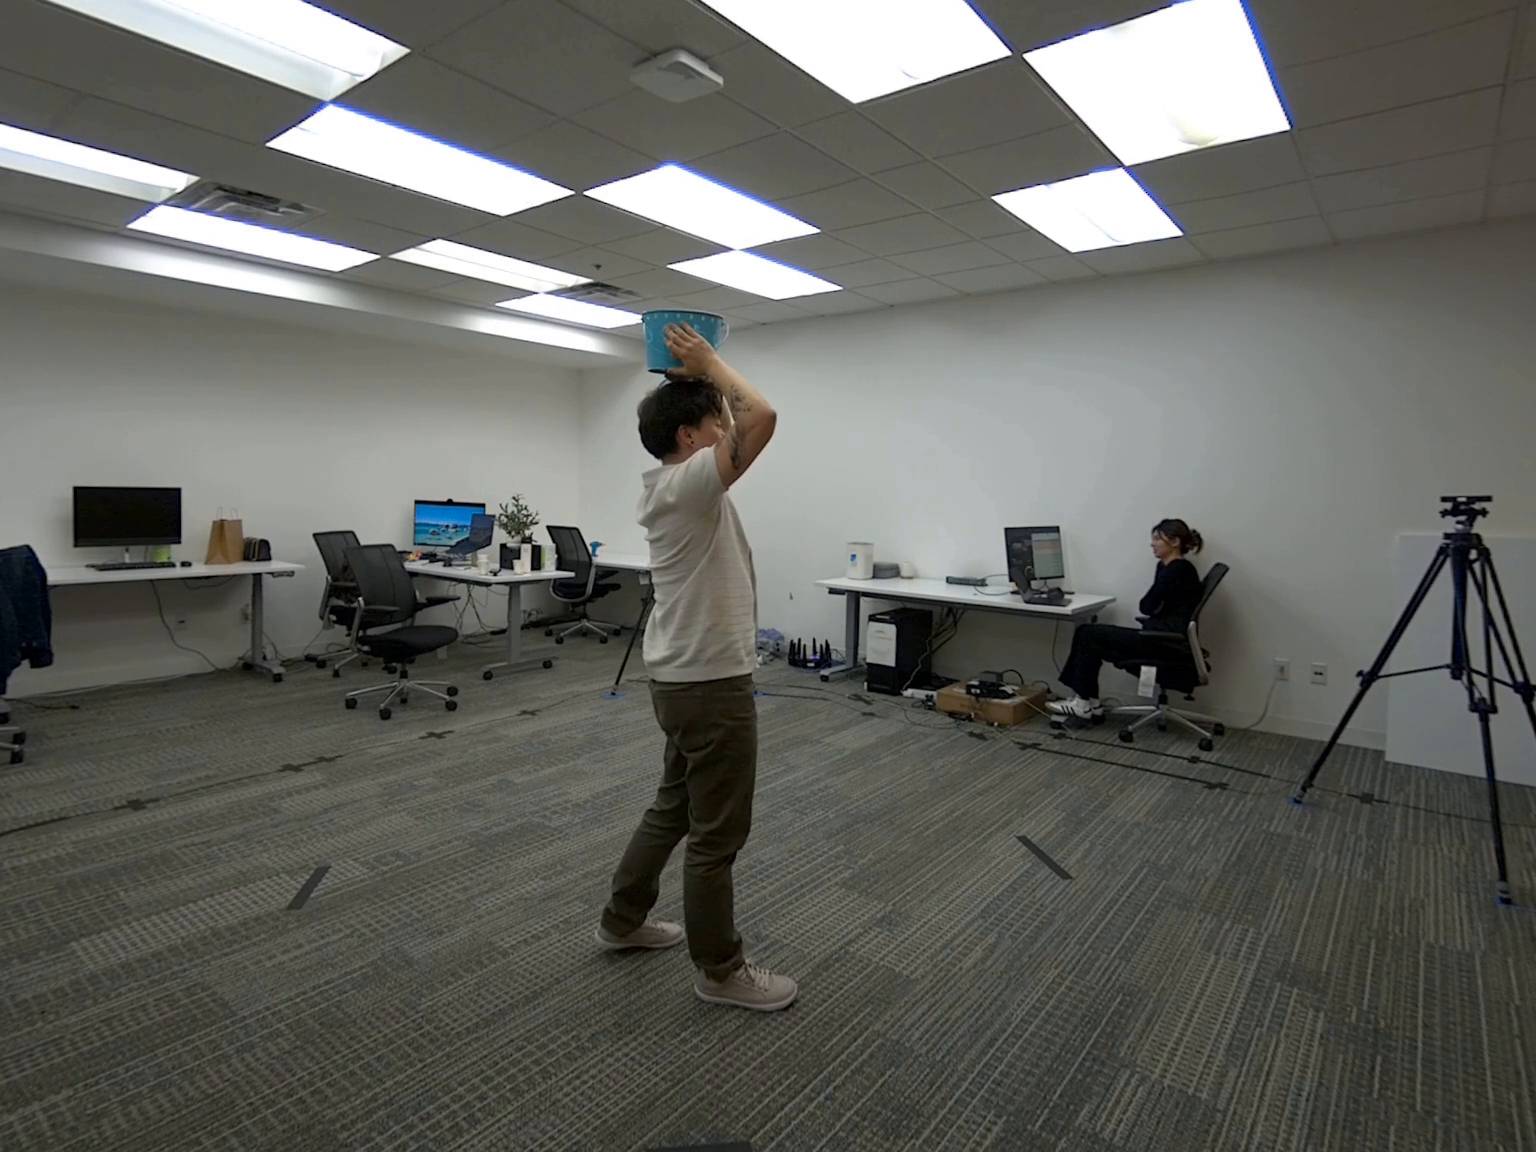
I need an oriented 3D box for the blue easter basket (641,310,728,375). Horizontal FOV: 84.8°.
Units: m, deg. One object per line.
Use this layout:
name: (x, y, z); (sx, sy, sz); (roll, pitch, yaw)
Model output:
blue easter basket: (-0.249, -0.636, 2.334); (0.243, 0.155, 0.245); (1, 7, -2)
